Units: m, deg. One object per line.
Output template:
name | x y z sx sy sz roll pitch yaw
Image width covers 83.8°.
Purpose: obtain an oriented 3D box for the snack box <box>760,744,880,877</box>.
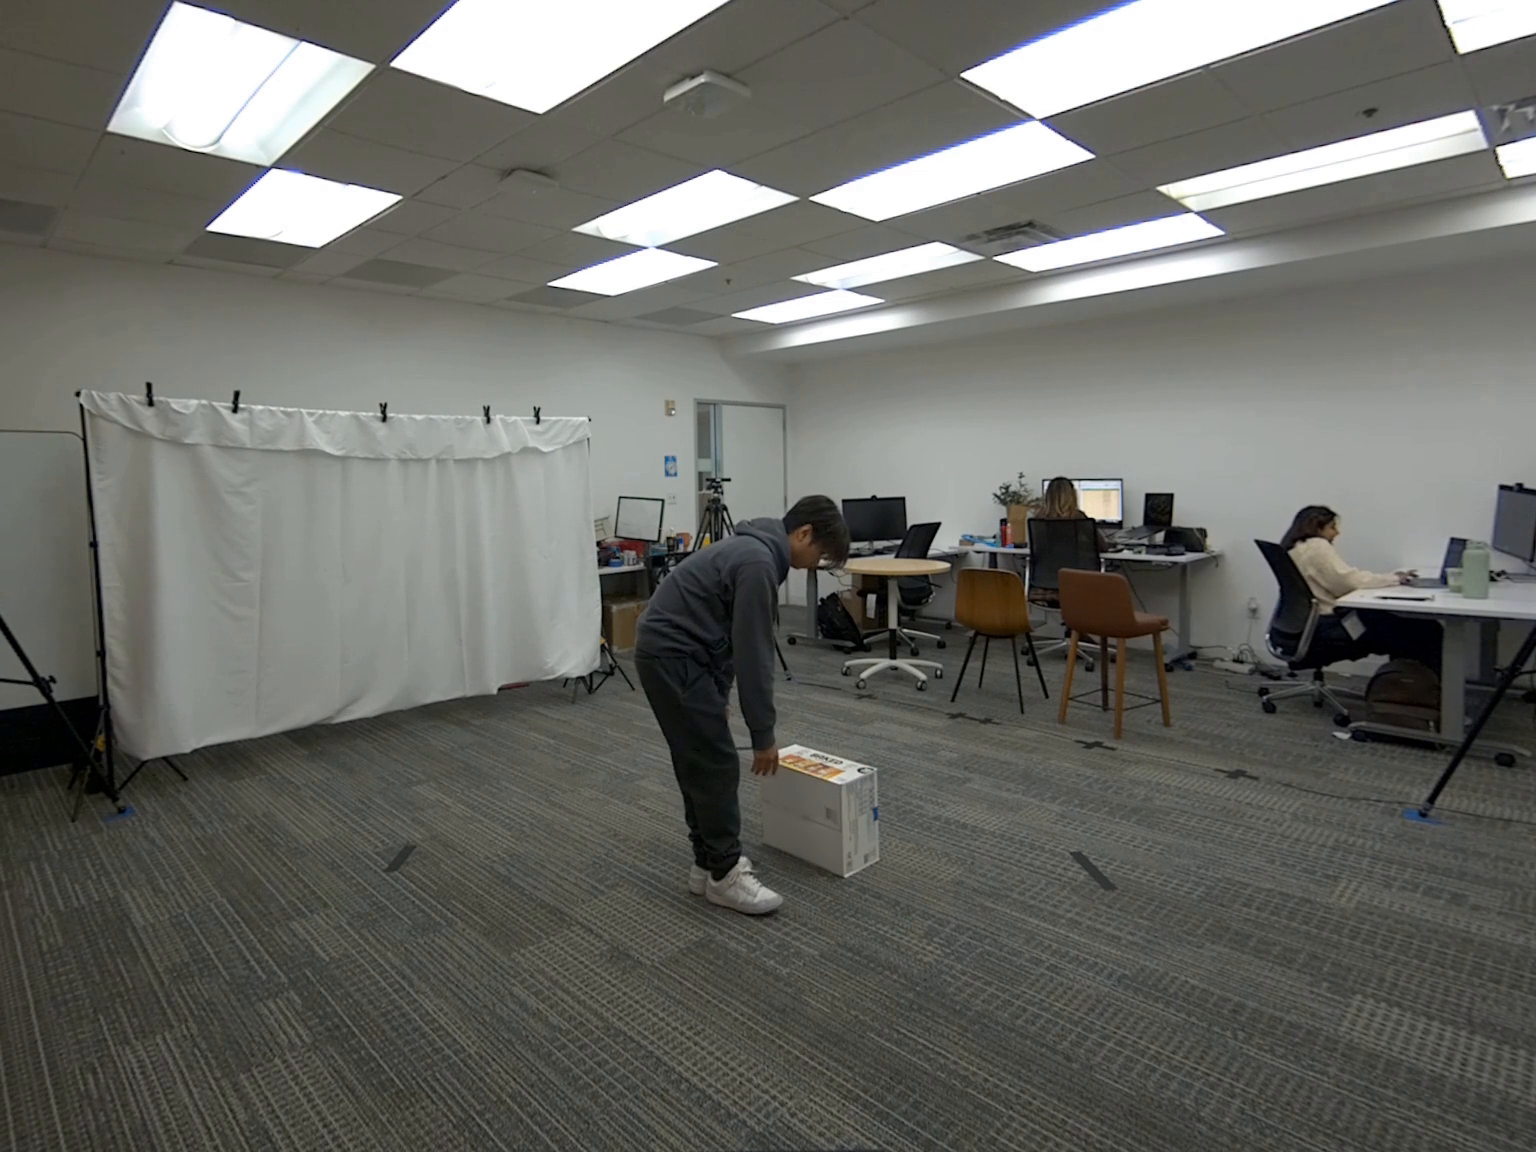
snack box | 0.192 0.862 3.179 0.200 0.339 0.418 -7 8 -43
